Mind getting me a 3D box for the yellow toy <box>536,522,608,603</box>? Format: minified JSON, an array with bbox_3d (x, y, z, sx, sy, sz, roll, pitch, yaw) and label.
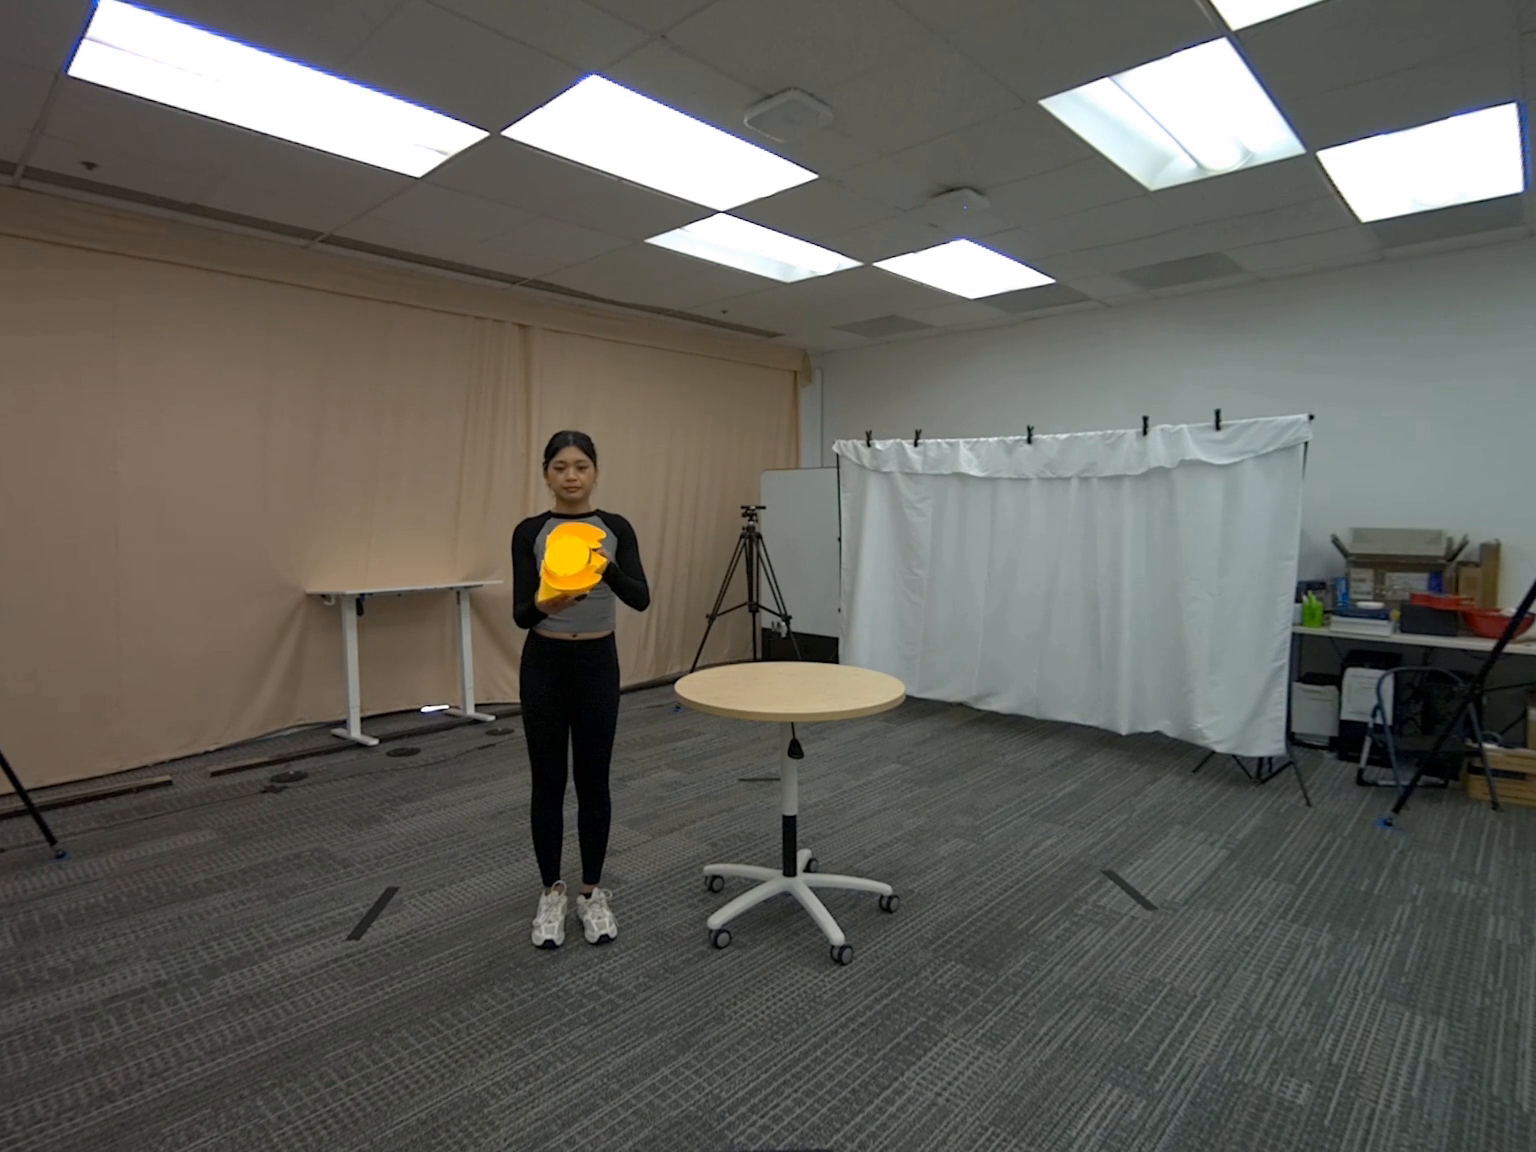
[{"bbox_3d":[-0.540,-0.007,2.358,0.193,0.208,0.227,1,-27,0],"label":"yellow toy"}]
